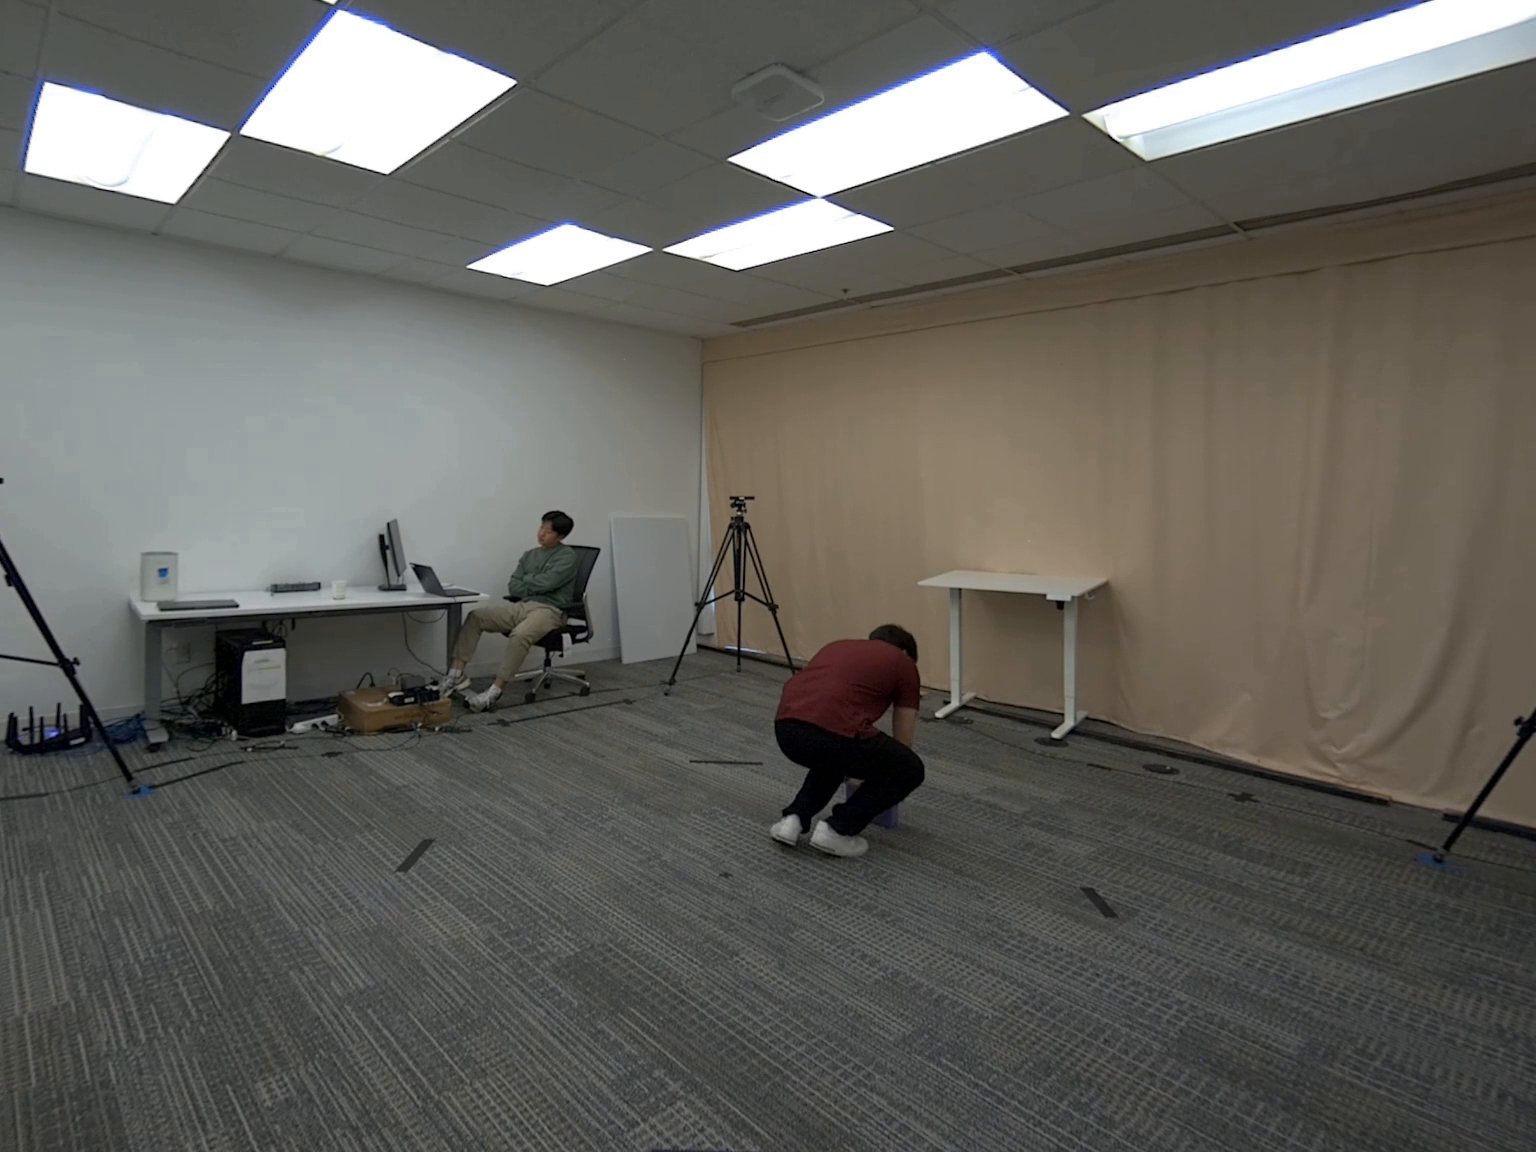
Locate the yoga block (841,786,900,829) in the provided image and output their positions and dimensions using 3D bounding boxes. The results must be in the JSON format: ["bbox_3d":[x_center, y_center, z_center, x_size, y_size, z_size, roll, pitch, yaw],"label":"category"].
[{"bbox_3d":[0.443,0.995,3.687,0.235,0.149,0.075,3,4,40],"label":"yoga block"}]
